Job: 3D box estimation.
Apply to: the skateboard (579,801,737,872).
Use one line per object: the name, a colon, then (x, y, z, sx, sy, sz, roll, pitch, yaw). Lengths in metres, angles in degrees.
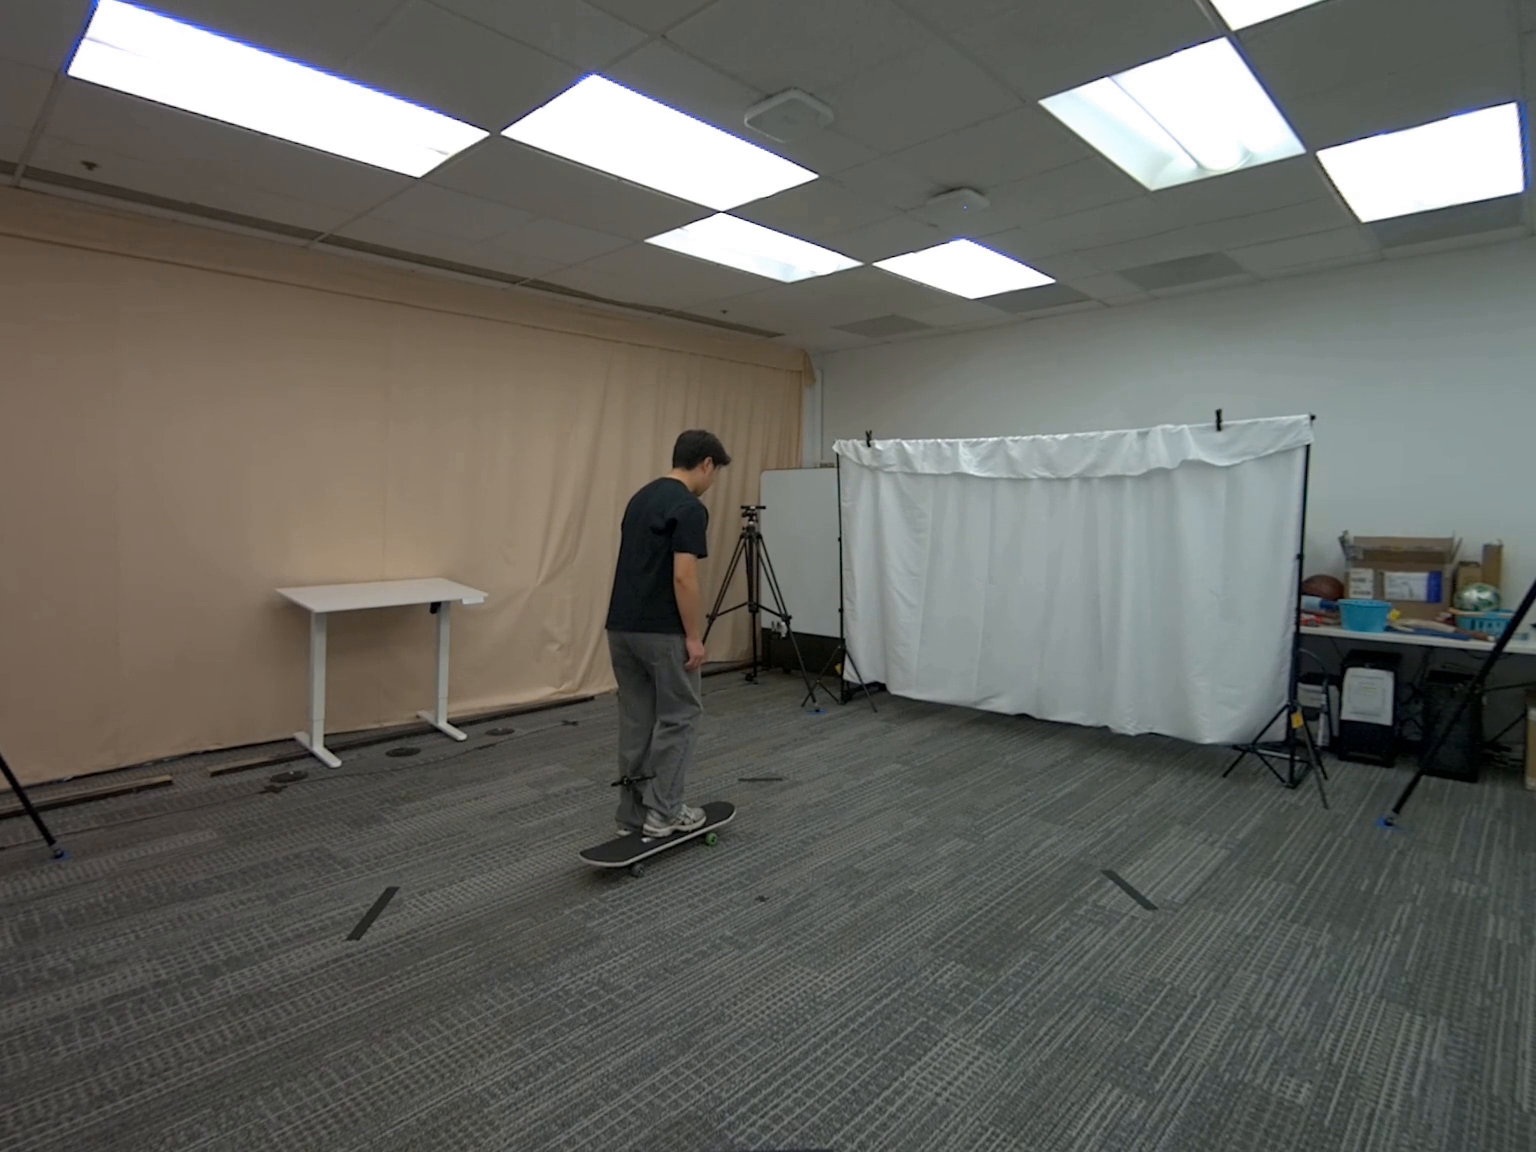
skateboard: (-0.419, 1.066, 3.364, 0.200, 0.110, 0.762, 4, 7, 42)
